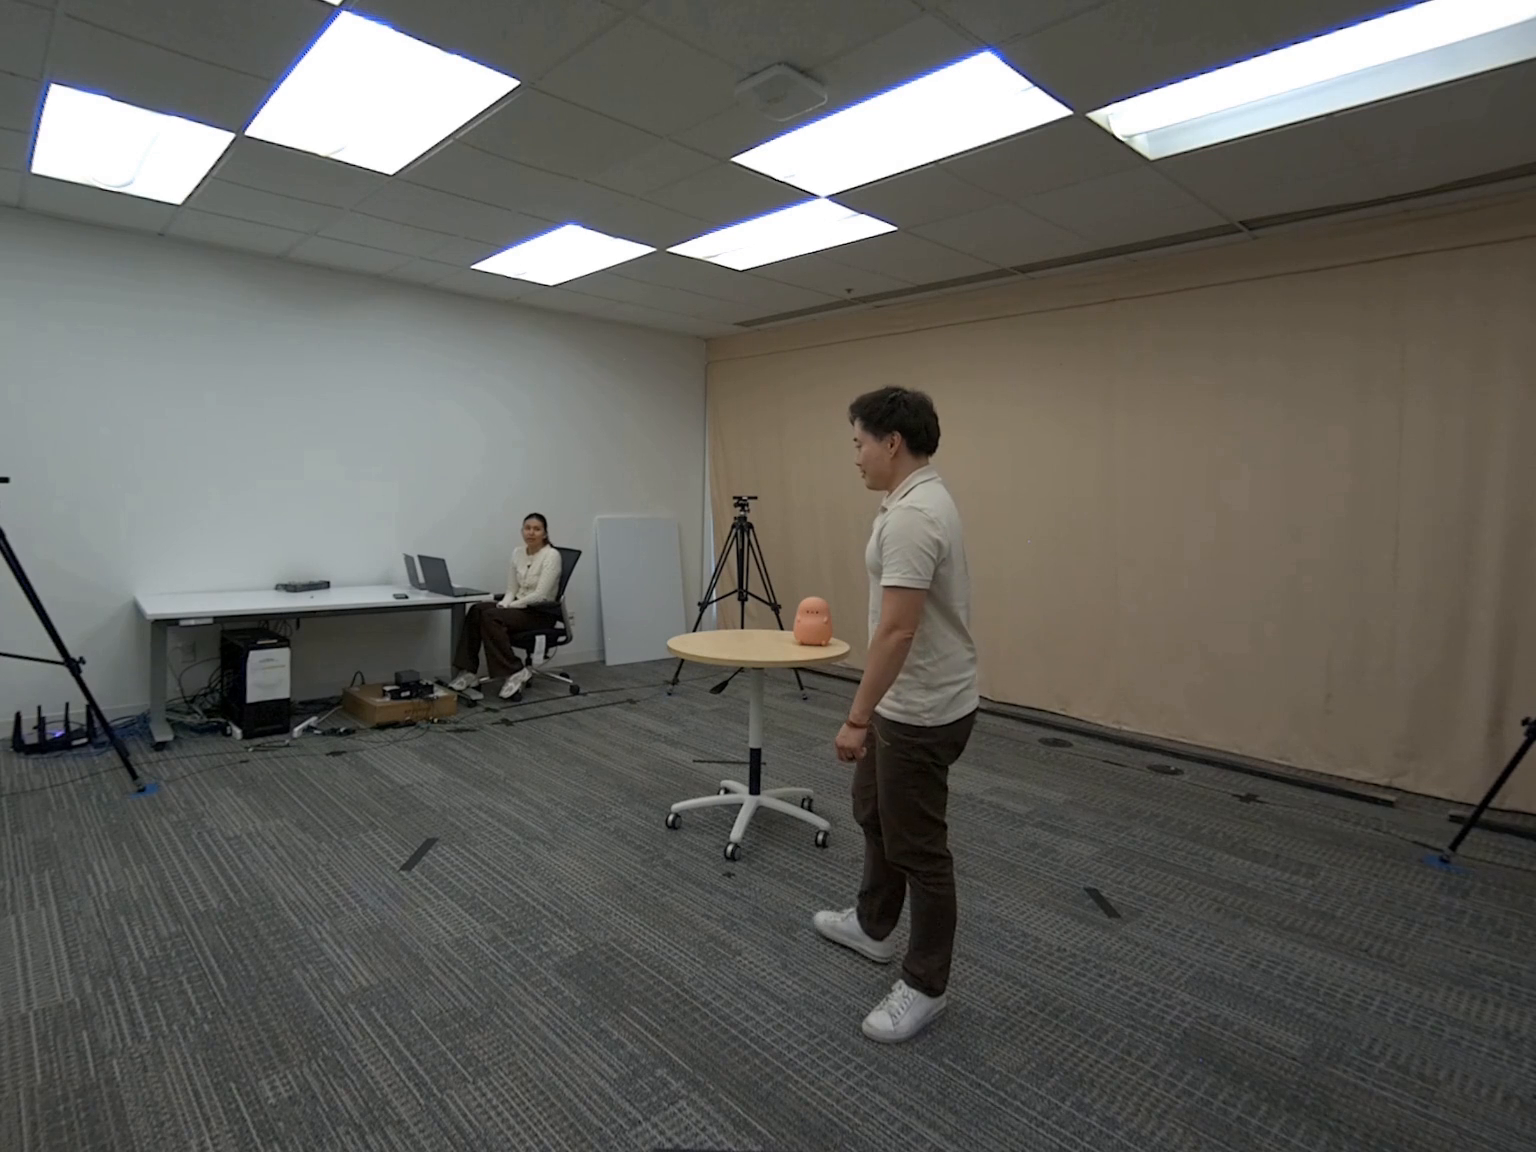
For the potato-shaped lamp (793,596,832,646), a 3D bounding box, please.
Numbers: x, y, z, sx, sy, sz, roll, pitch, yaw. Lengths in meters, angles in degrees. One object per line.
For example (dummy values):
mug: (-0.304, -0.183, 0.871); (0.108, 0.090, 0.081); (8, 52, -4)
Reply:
potato-shaped lamp: (0.185, 0.188, 3.557); (0.166, 0.197, 0.171); (7, 6, 8)
